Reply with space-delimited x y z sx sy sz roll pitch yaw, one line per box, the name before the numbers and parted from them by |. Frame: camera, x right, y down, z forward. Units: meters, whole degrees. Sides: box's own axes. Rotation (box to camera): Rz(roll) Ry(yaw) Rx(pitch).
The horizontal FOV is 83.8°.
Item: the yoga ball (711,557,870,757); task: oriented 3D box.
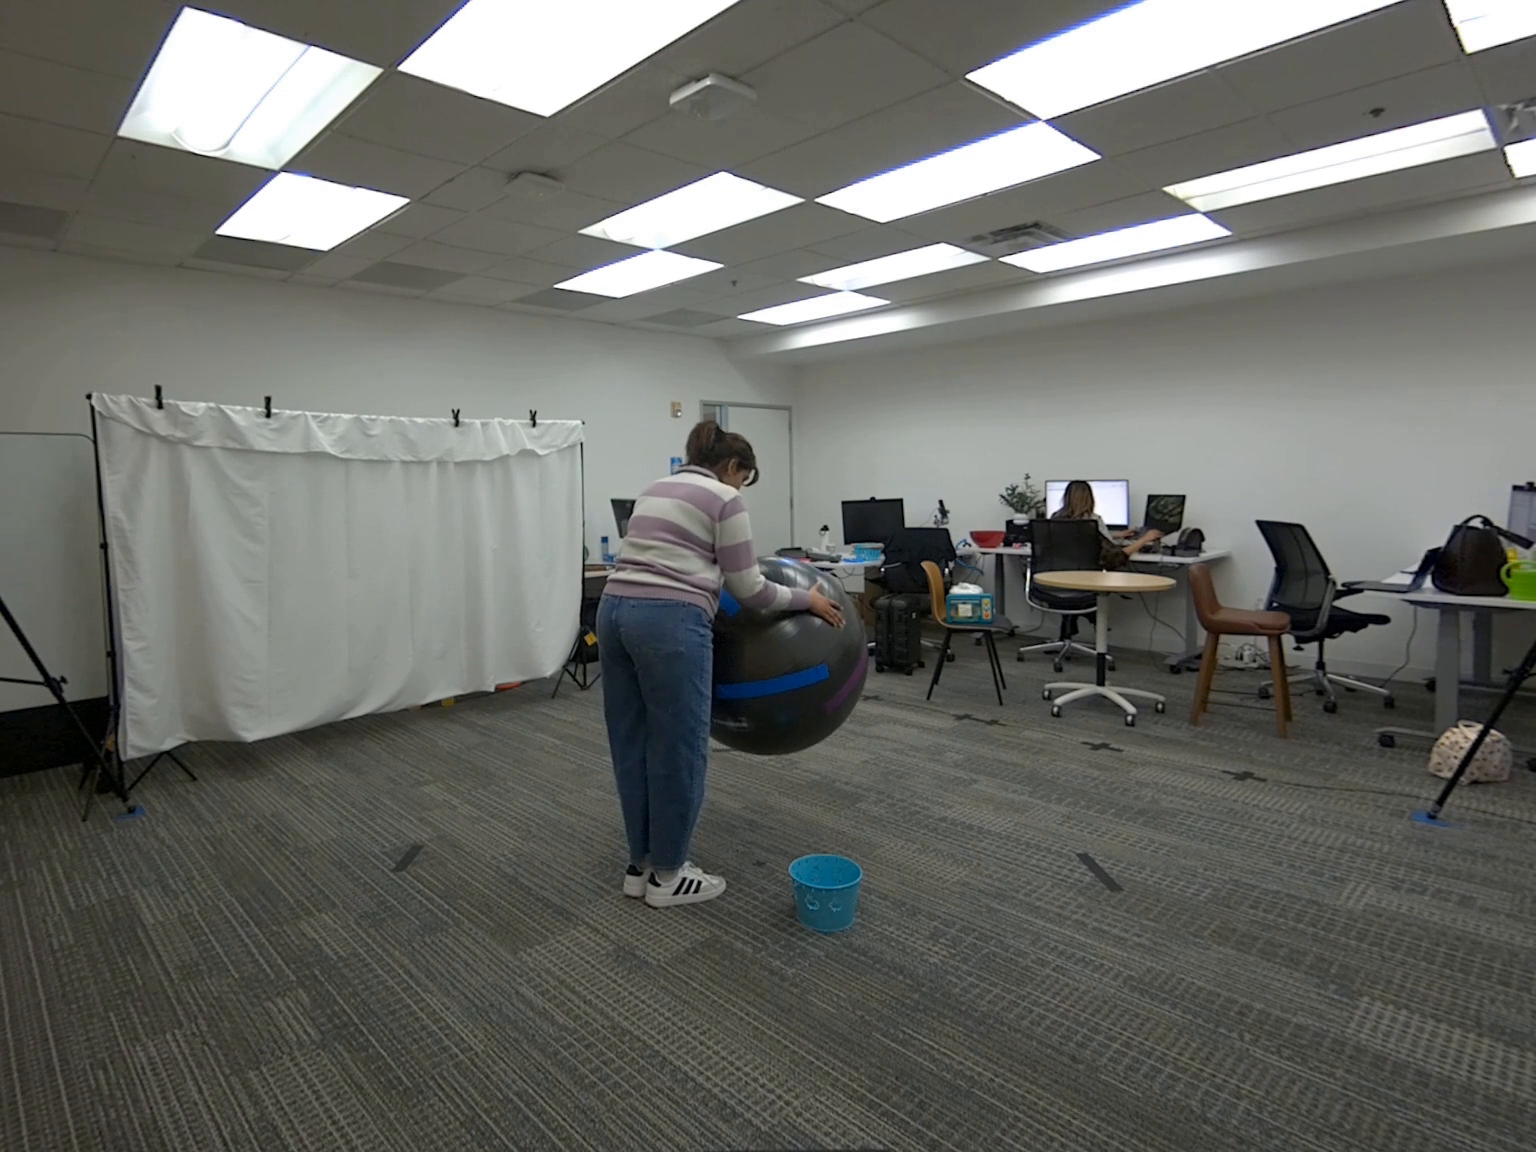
yoga ball | 0.010 0.321 3.289 0.757 0.755 0.762 -1 5 -2
